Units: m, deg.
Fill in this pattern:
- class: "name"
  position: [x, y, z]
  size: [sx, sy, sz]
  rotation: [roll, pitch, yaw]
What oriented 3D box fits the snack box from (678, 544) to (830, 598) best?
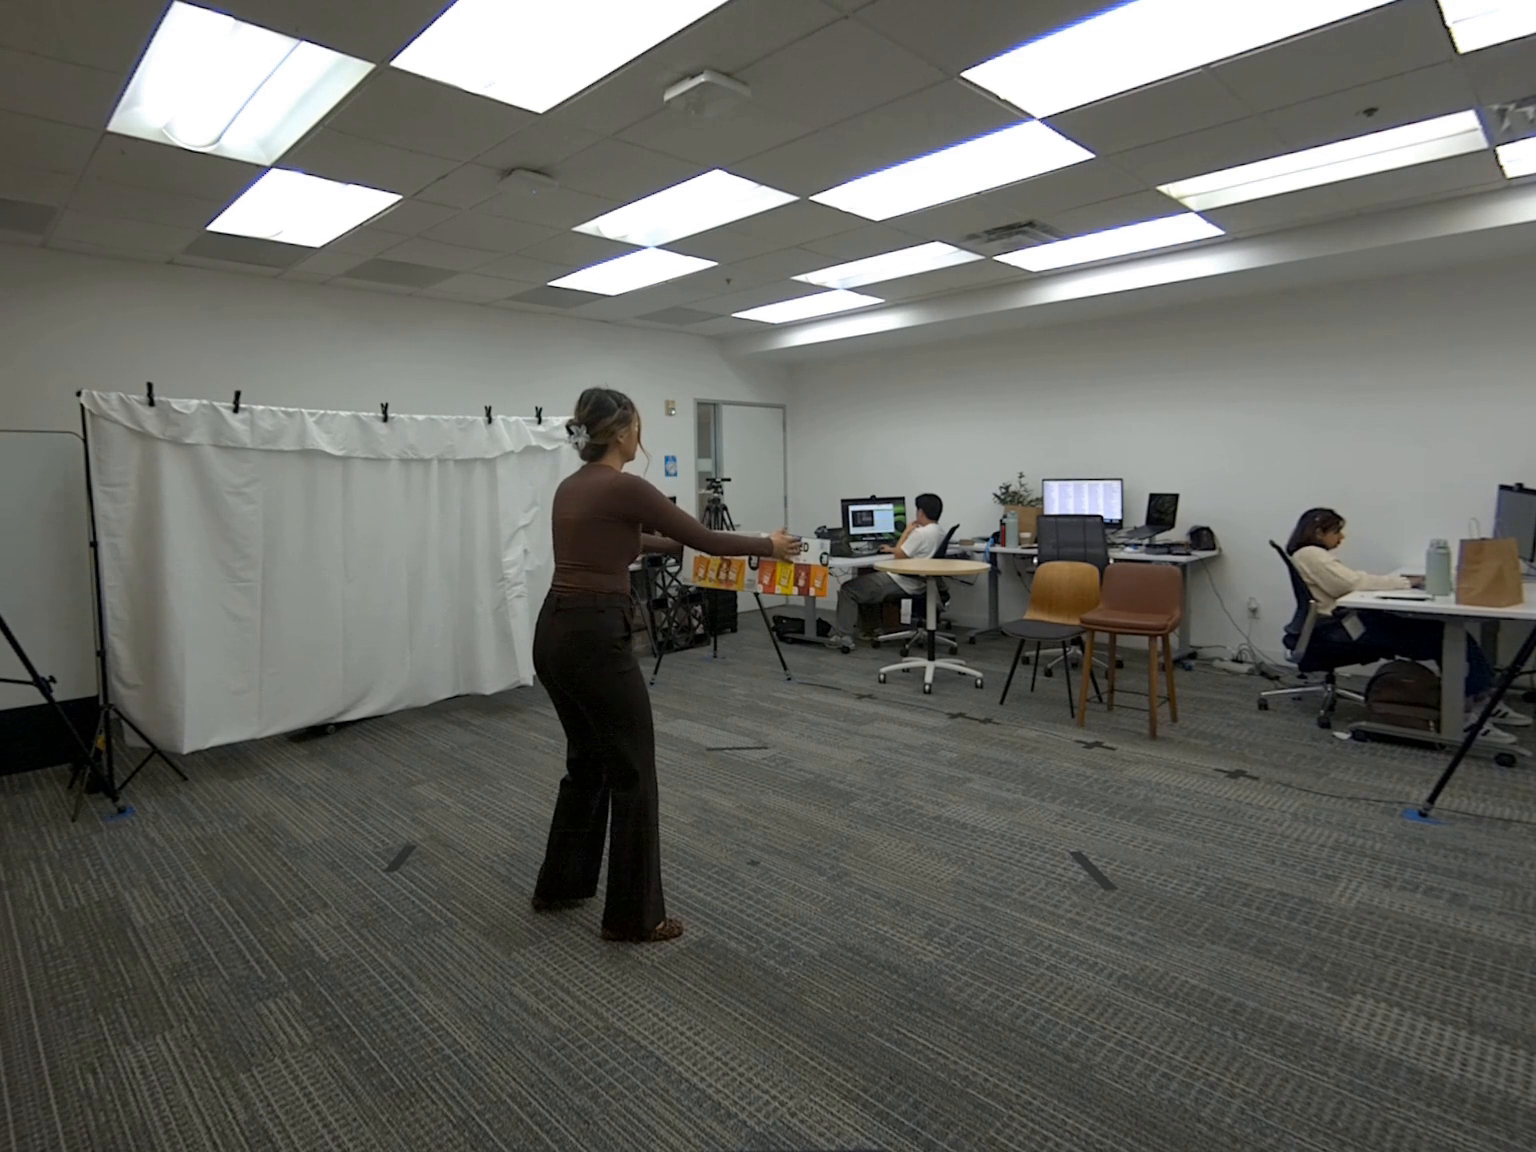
- class: "snack box"
  position: [-0.050, -0.041, 3.072]
  size: [0.330, 0.206, 0.417]
  rotation: [4, 0, -42]
